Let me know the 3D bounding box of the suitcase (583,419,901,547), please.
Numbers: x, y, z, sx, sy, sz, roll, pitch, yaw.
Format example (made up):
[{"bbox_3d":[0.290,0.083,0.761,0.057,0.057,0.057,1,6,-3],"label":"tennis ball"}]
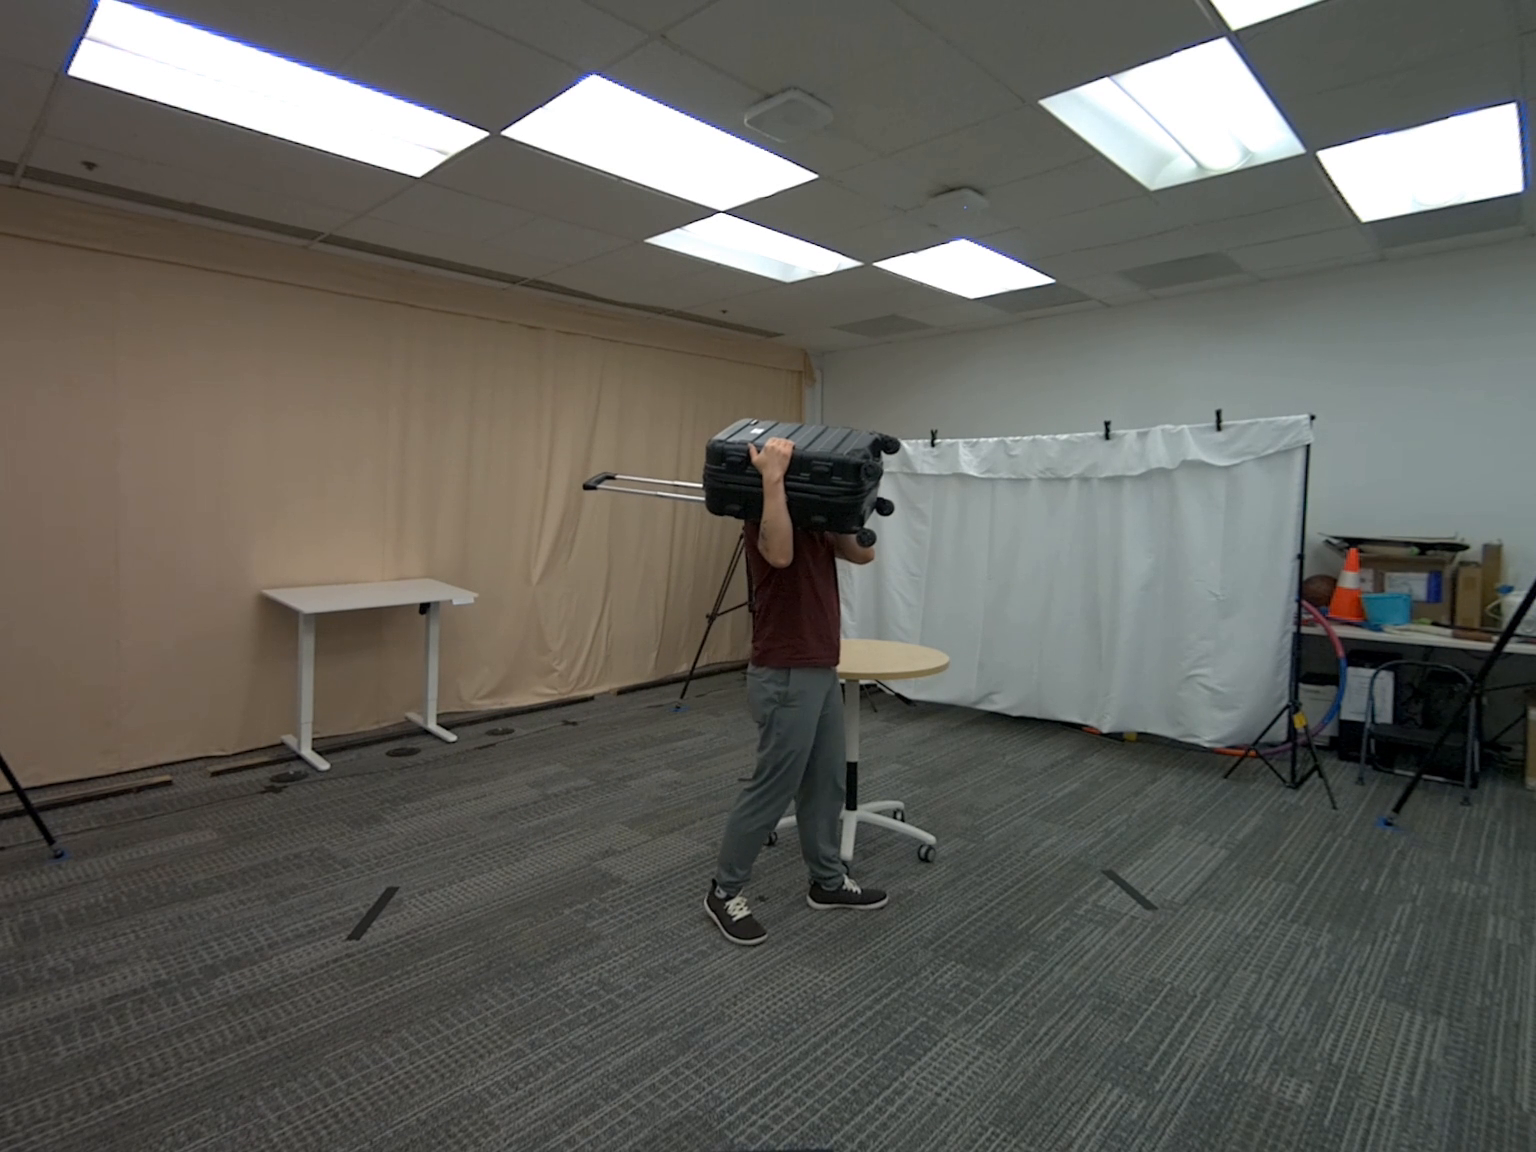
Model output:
[{"bbox_3d":[-0.098,-0.347,2.633,1.000,0.254,0.381,11,26,18],"label":"suitcase"}]
